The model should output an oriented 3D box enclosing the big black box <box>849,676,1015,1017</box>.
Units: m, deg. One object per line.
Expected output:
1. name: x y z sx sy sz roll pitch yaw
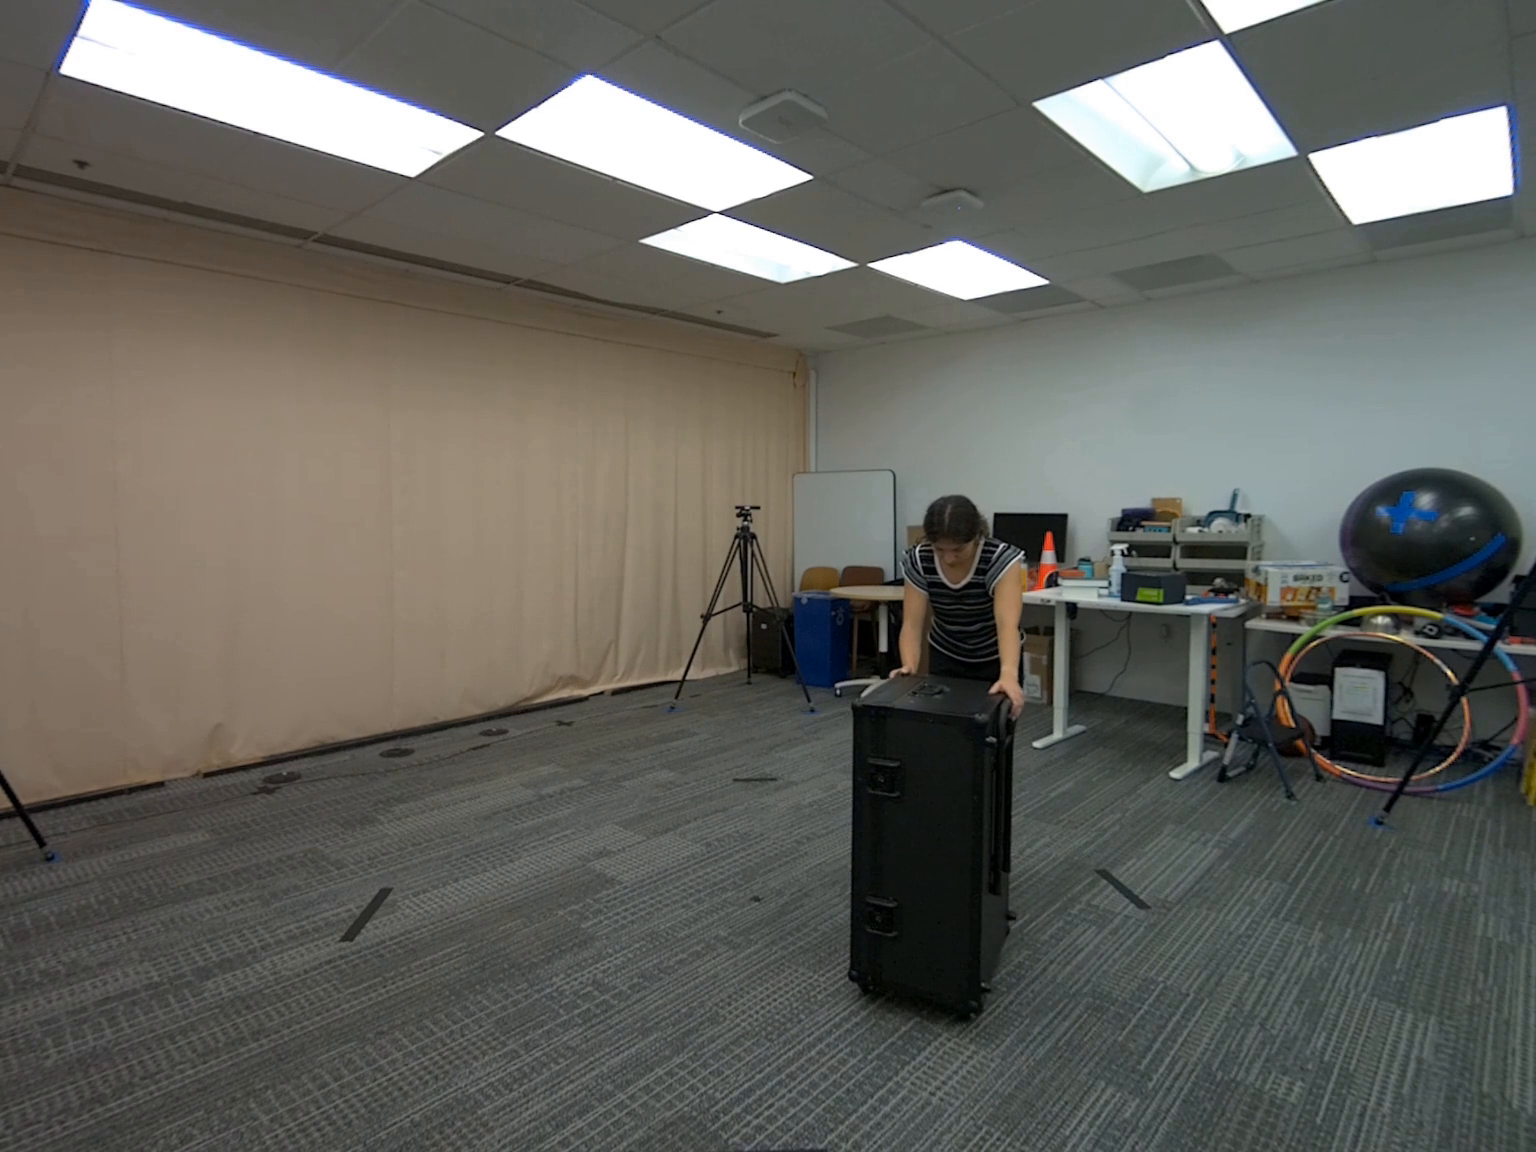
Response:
1. big black box: 0.501 0.765 2.450 0.407 0.859 0.508 3 4 26
